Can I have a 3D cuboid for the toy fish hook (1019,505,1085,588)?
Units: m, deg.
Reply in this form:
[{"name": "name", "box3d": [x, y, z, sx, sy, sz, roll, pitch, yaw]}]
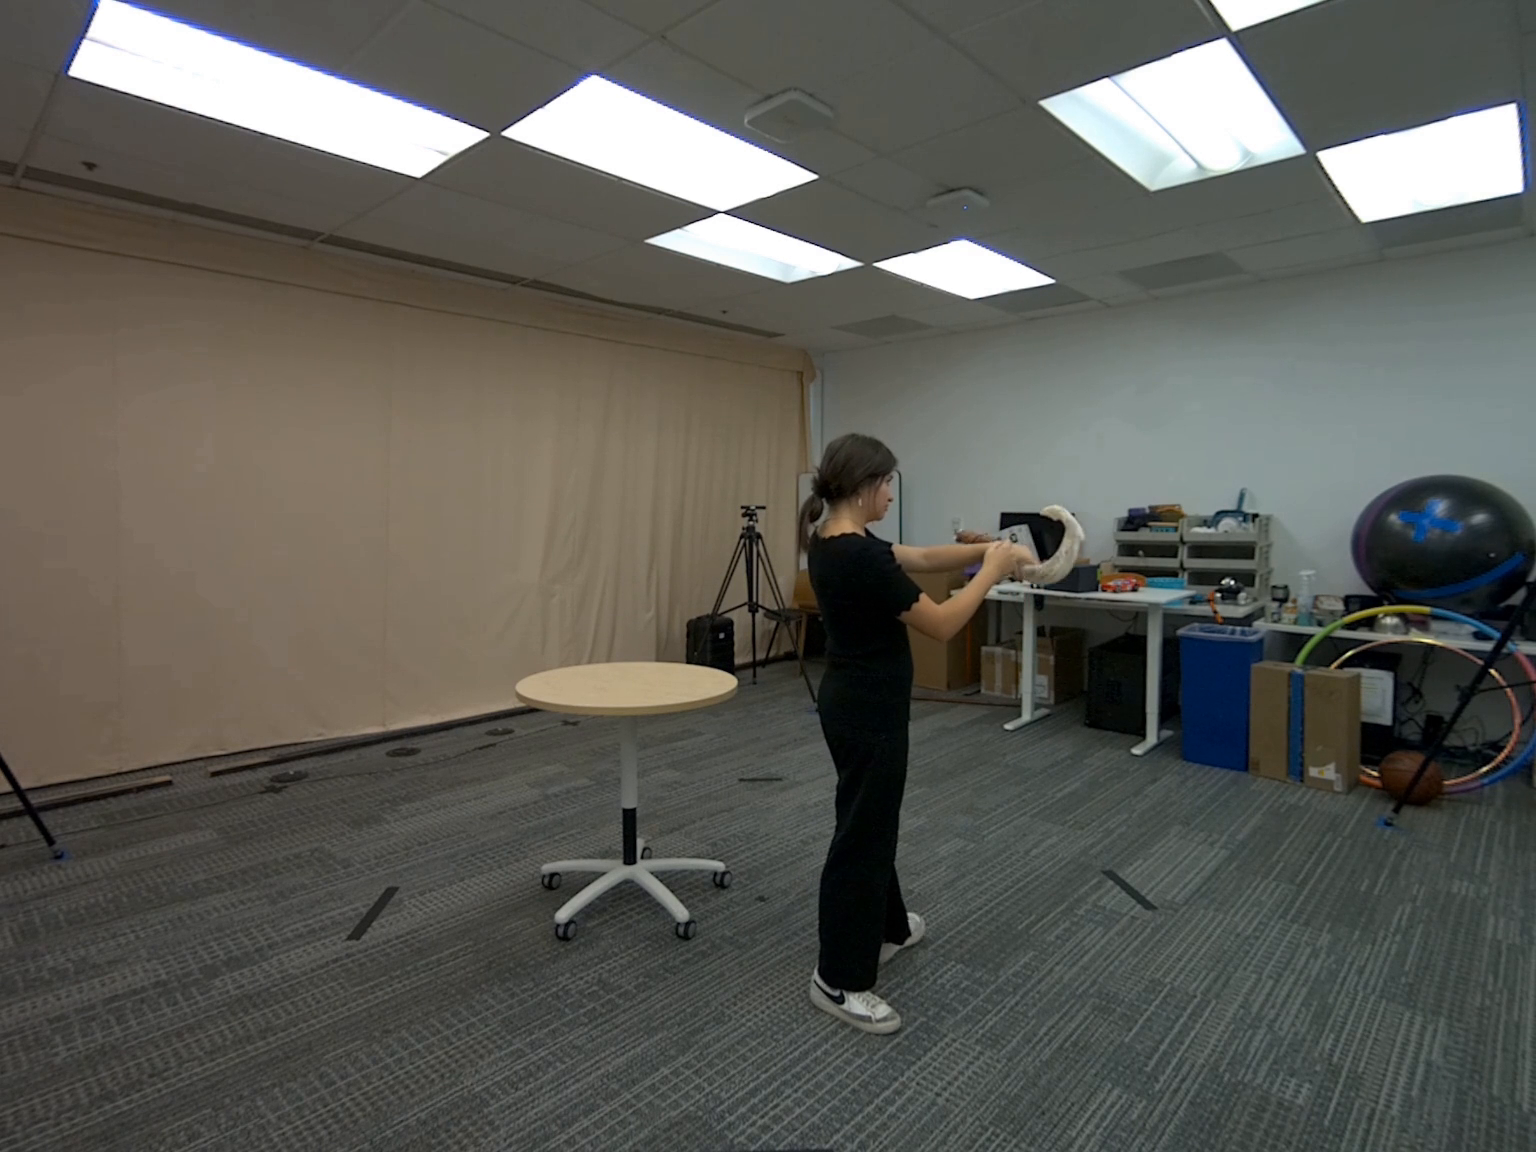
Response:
[{"name": "toy fish hook", "box3d": [0.734, -0.113, 2.430, 0.047, 0.224, 0.521, 27, 1, -27]}]
